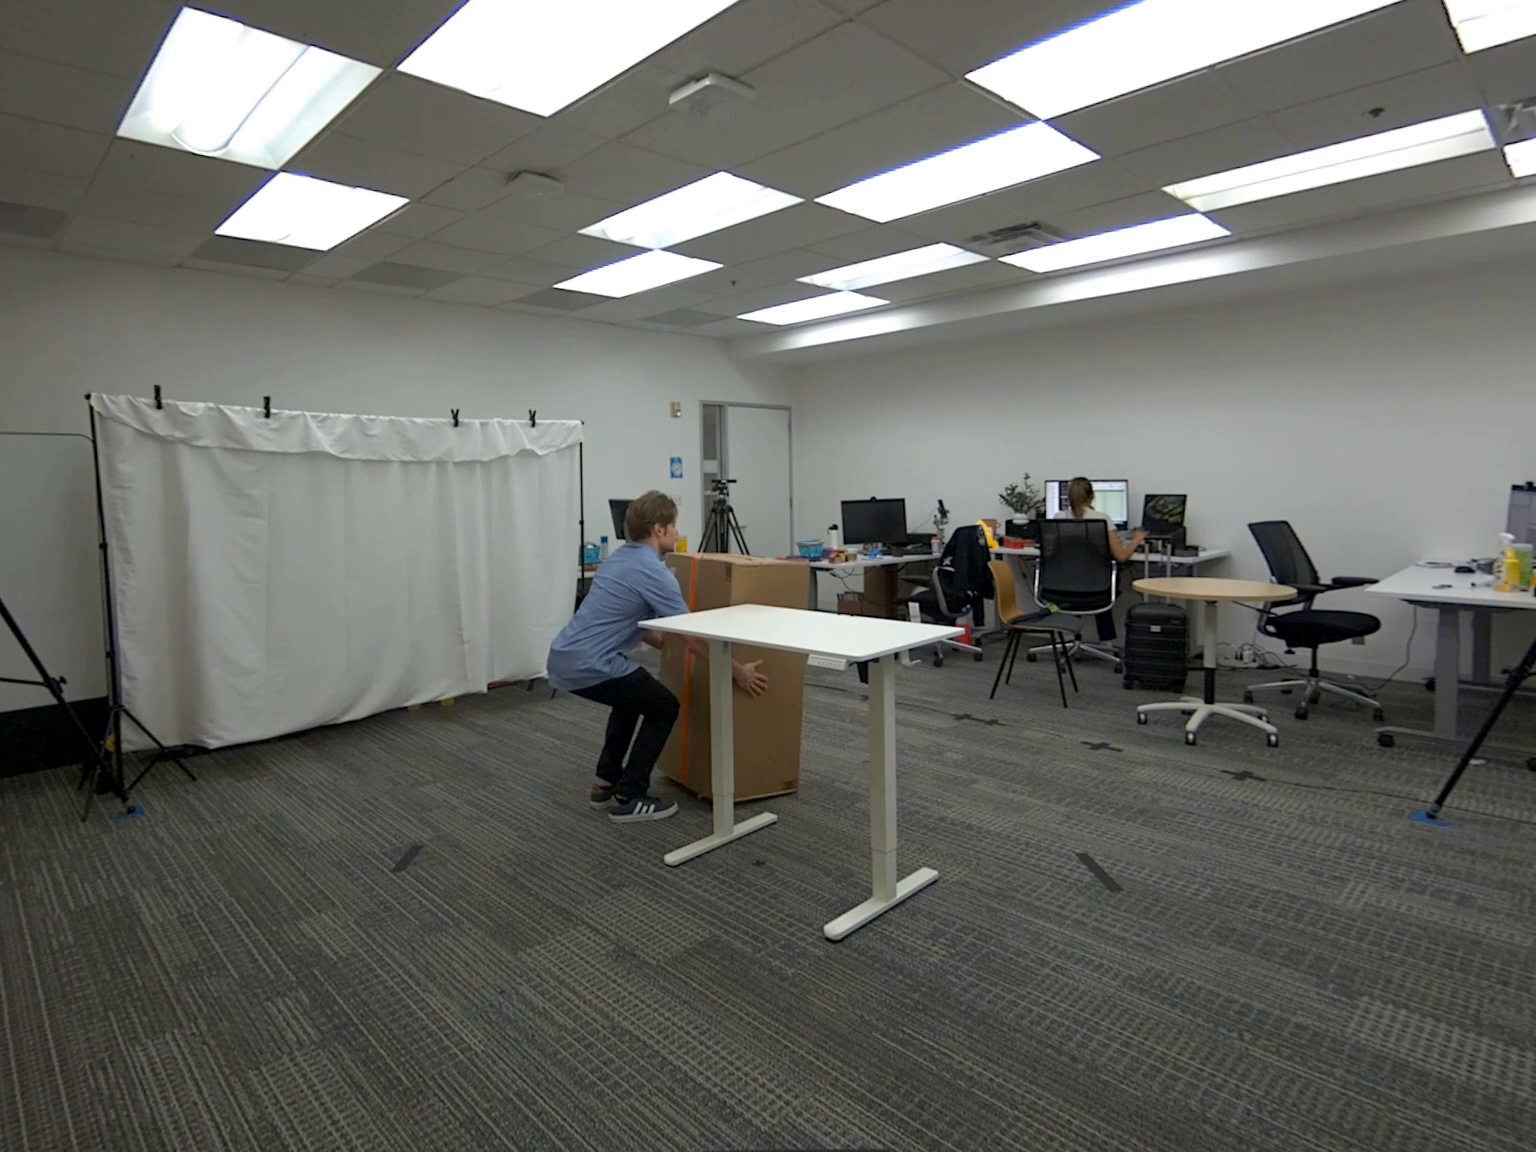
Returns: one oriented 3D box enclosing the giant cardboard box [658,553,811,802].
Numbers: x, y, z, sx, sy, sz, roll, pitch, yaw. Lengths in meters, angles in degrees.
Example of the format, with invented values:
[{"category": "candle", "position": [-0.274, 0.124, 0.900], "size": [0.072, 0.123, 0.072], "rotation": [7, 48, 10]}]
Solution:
[{"category": "giant cardboard box", "position": [-0.172, 0.420, 3.919], "size": [0.414, 1.024, 0.594], "rotation": [1, 2, -36]}]
